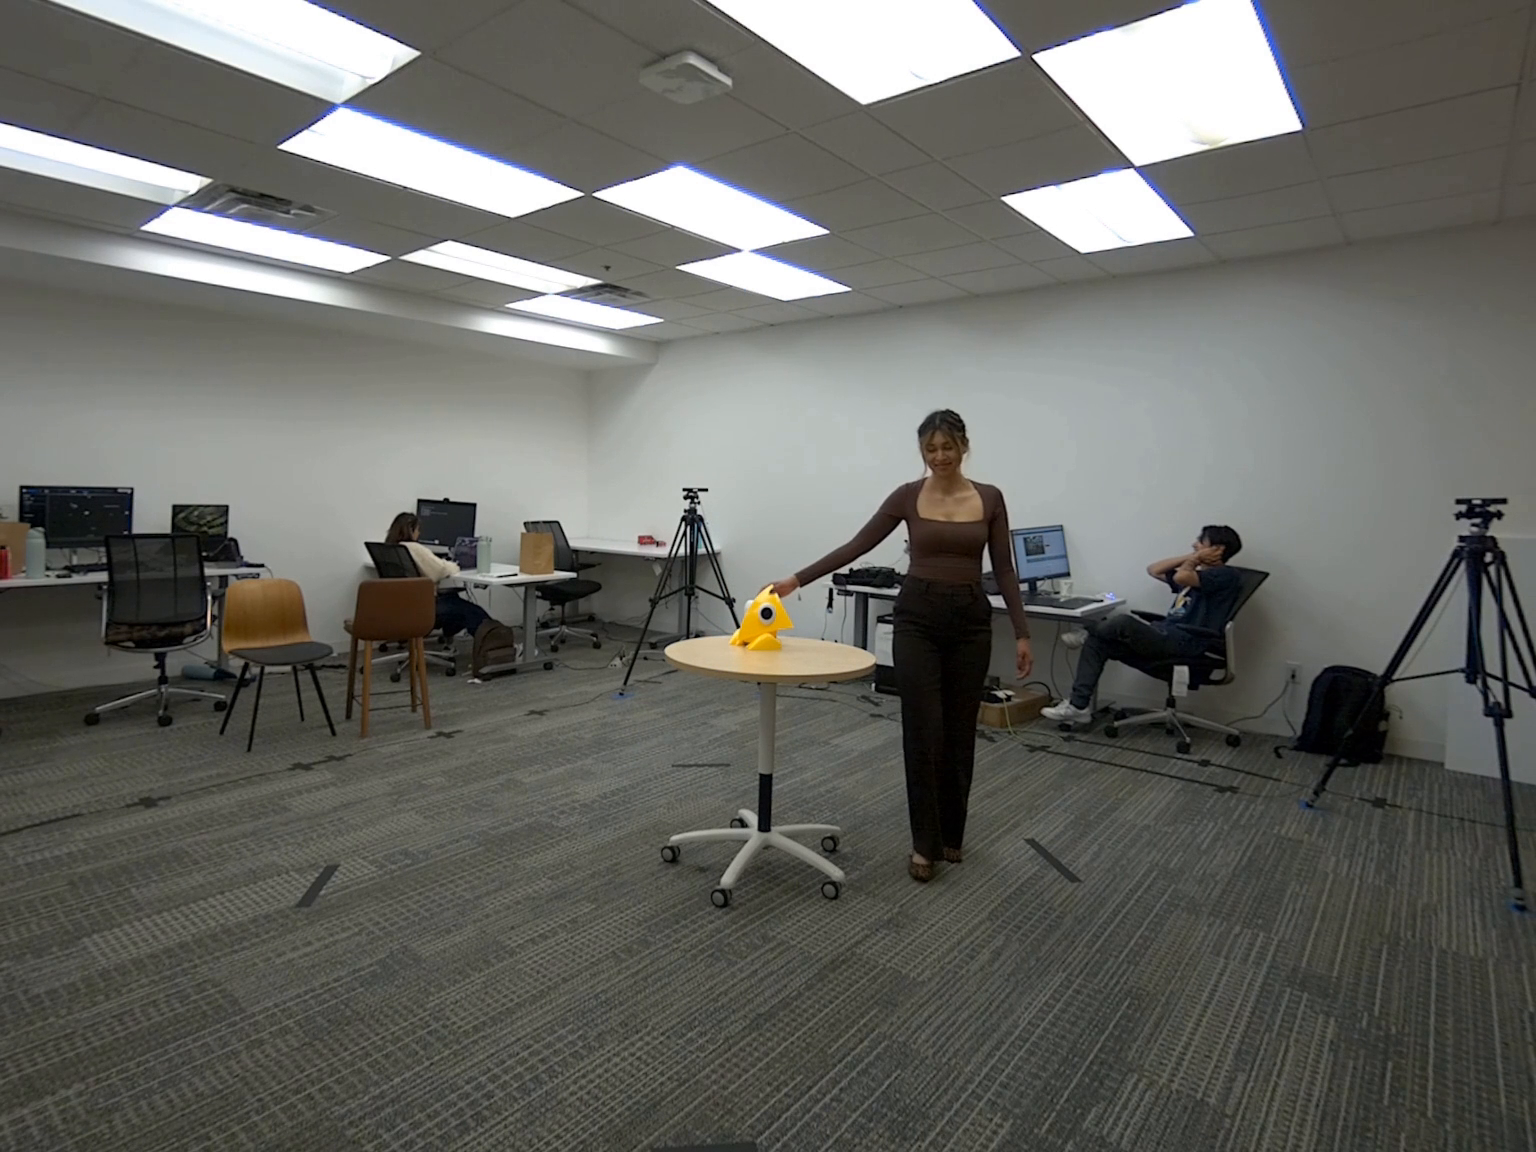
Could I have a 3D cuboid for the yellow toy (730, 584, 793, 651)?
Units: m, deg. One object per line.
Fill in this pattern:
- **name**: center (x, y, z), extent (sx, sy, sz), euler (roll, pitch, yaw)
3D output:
- **yellow toy**: center (-0.041, 0.149, 3.253), extent (0.187, 0.230, 0.211), euler (-1, 5, -34)
